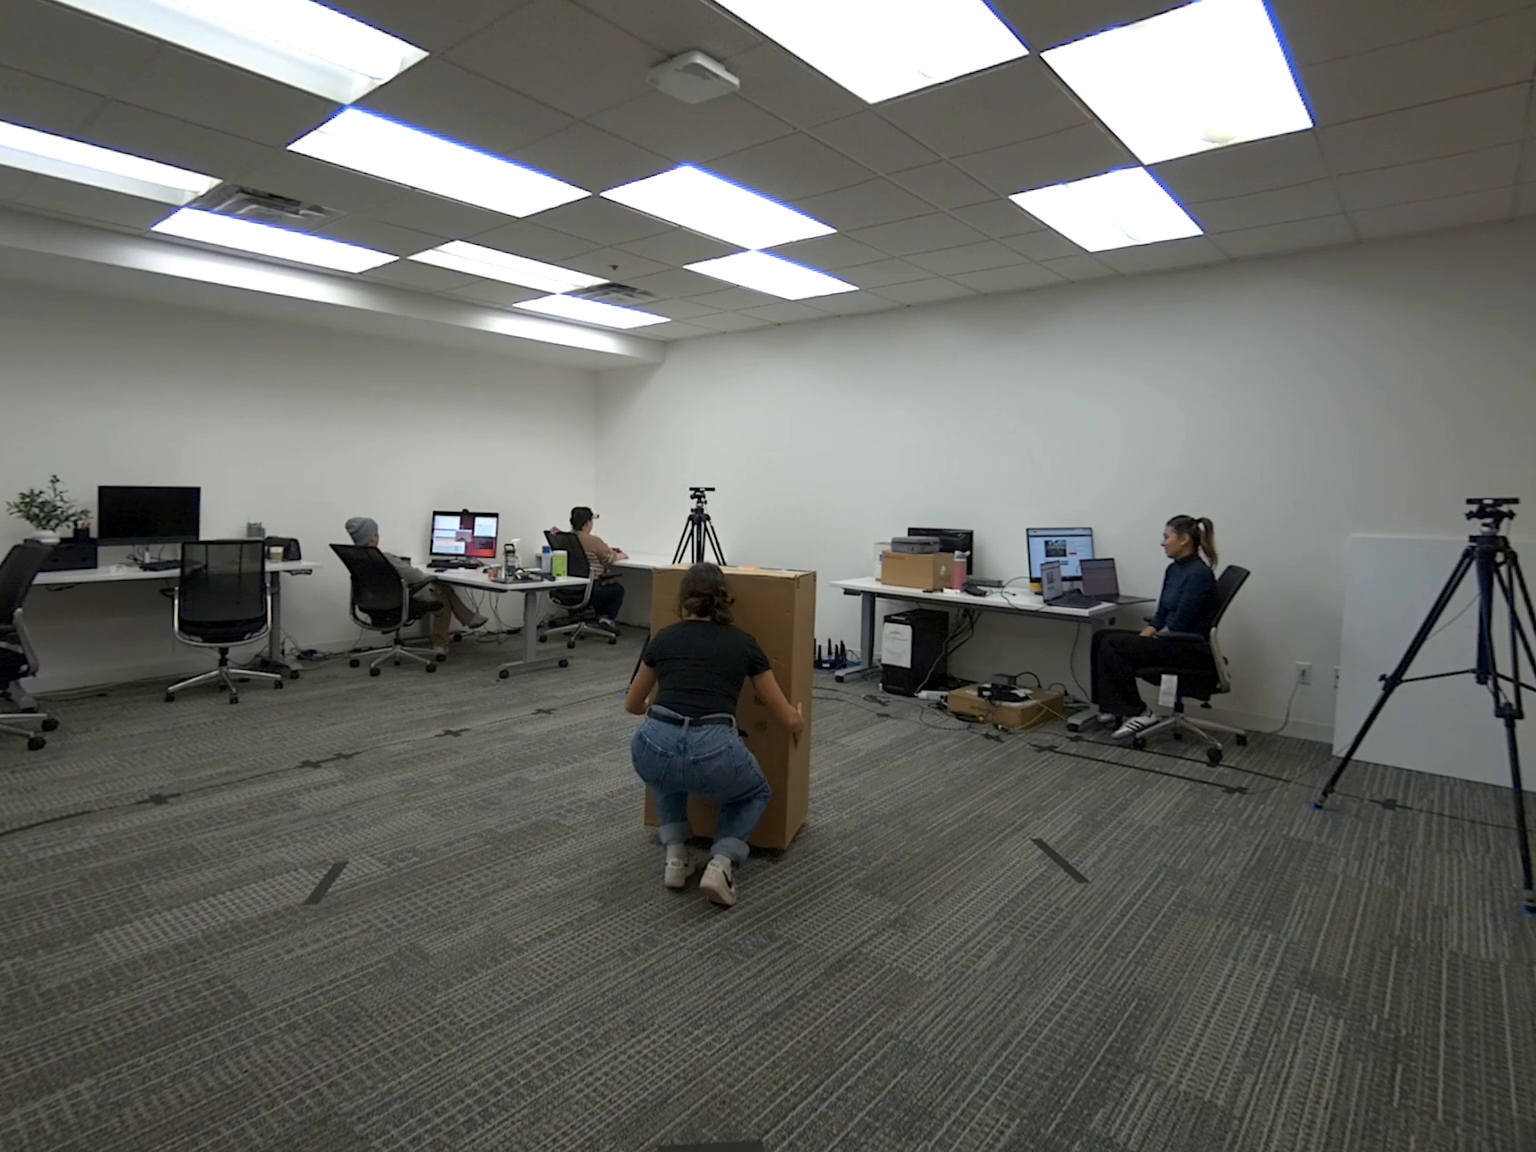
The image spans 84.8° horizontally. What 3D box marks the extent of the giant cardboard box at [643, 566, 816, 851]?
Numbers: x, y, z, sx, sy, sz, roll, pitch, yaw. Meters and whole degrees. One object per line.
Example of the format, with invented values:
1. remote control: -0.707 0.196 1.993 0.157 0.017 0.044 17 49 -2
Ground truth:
1. giant cardboard box: -0.149 0.473 3.442 0.588 1.025 0.419 3 1 16
